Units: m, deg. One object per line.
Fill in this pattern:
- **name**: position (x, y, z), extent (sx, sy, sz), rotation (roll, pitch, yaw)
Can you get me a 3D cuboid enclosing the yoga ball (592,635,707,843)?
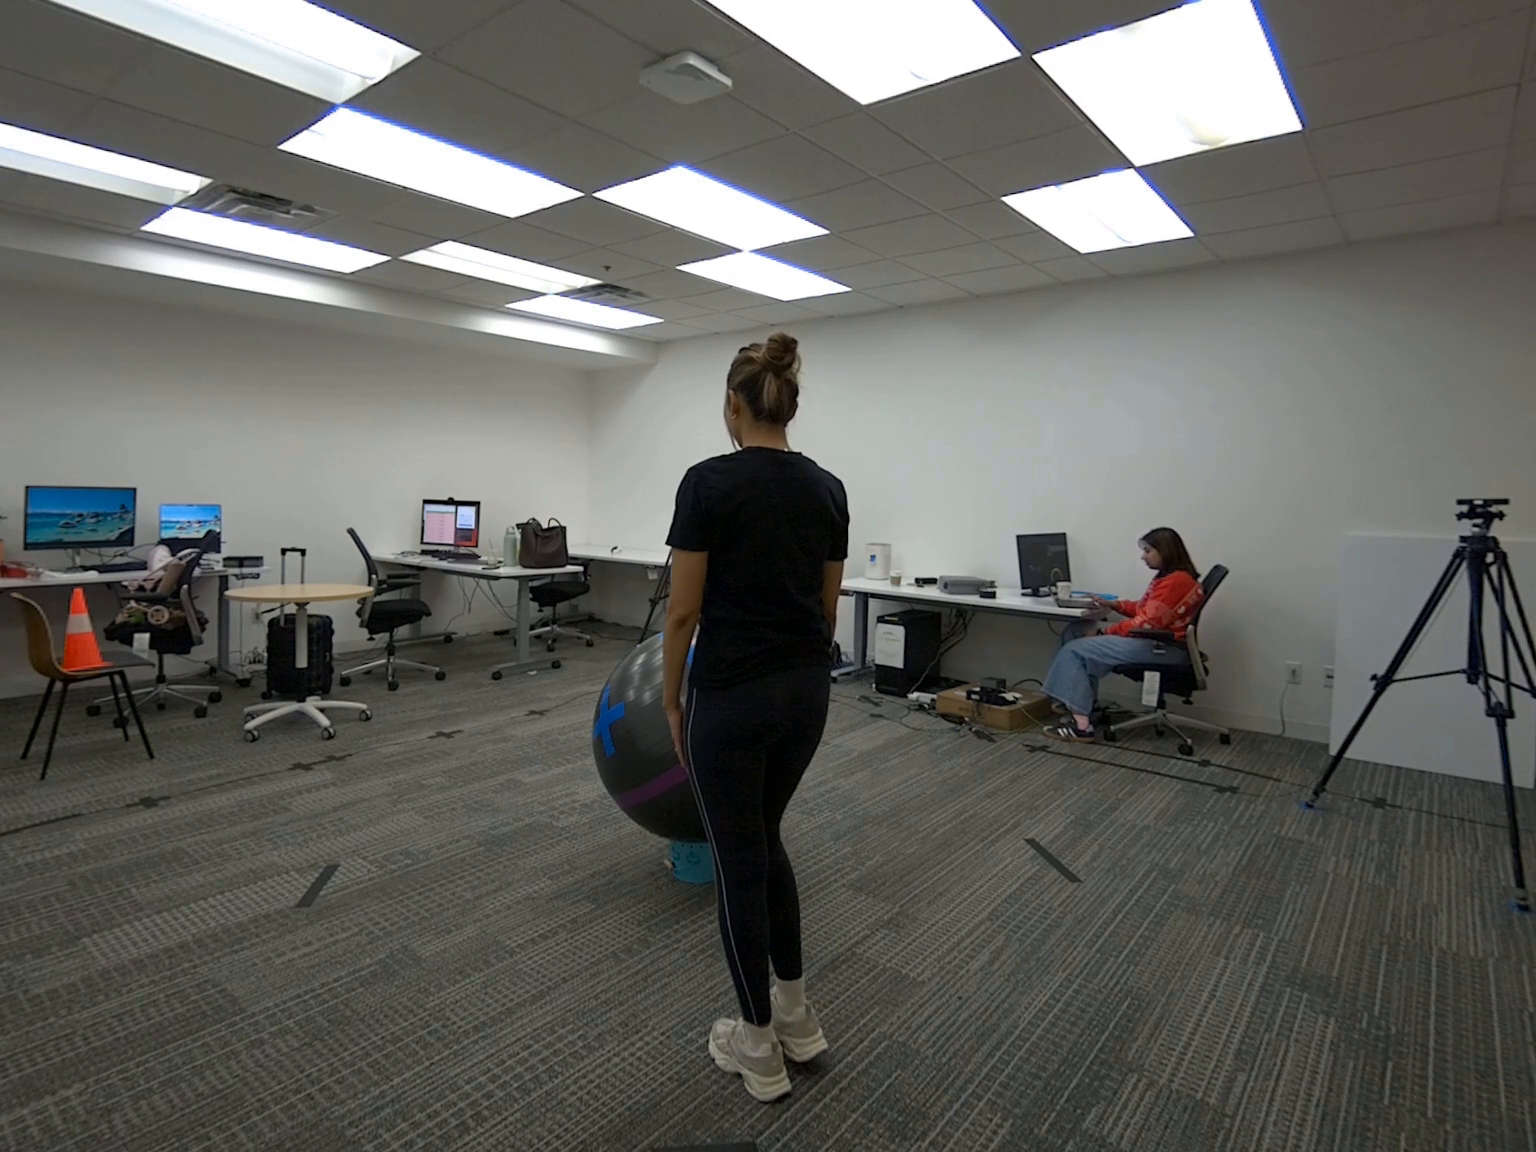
- **yoga ball**: position (-0.263, 0.559, 3.067), extent (0.757, 0.756, 0.762), rotation (1, 4, -2)
